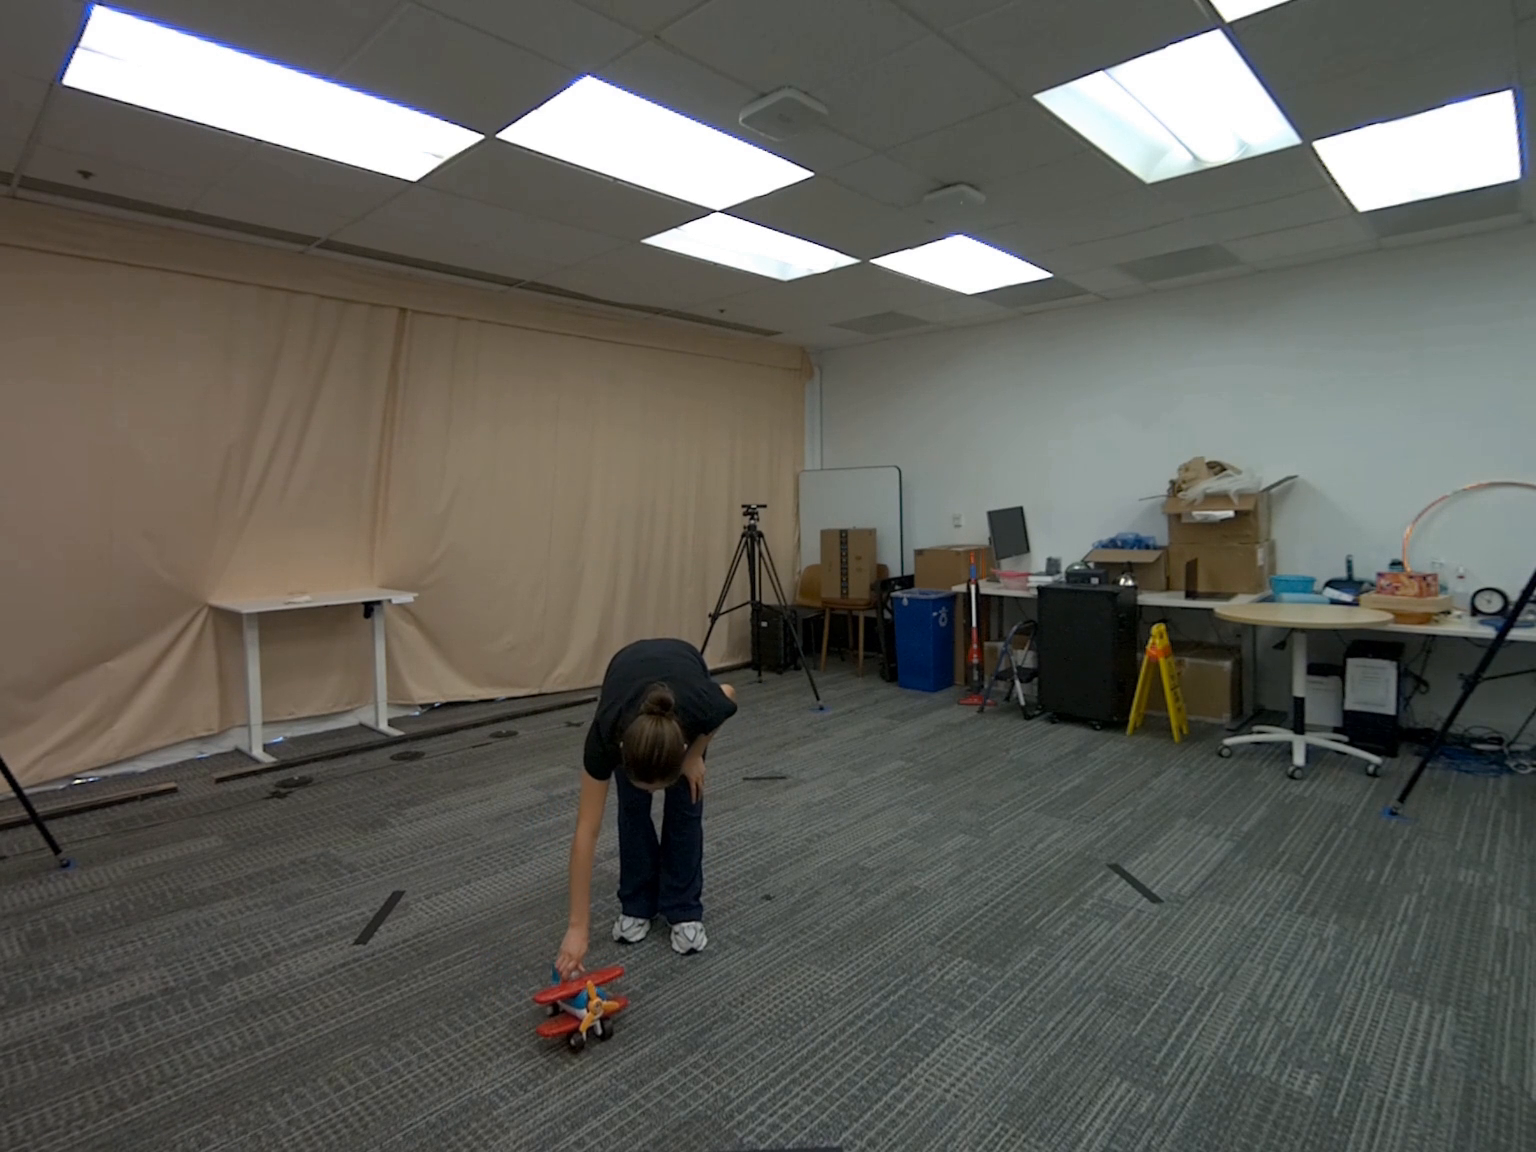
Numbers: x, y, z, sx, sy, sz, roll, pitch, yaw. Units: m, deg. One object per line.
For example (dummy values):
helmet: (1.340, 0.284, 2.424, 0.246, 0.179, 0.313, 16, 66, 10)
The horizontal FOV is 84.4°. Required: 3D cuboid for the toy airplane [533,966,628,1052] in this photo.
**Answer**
toy airplane: (-0.526, 1.133, 2.242, 0.265, 0.156, 0.245, 2, 3, 22)
